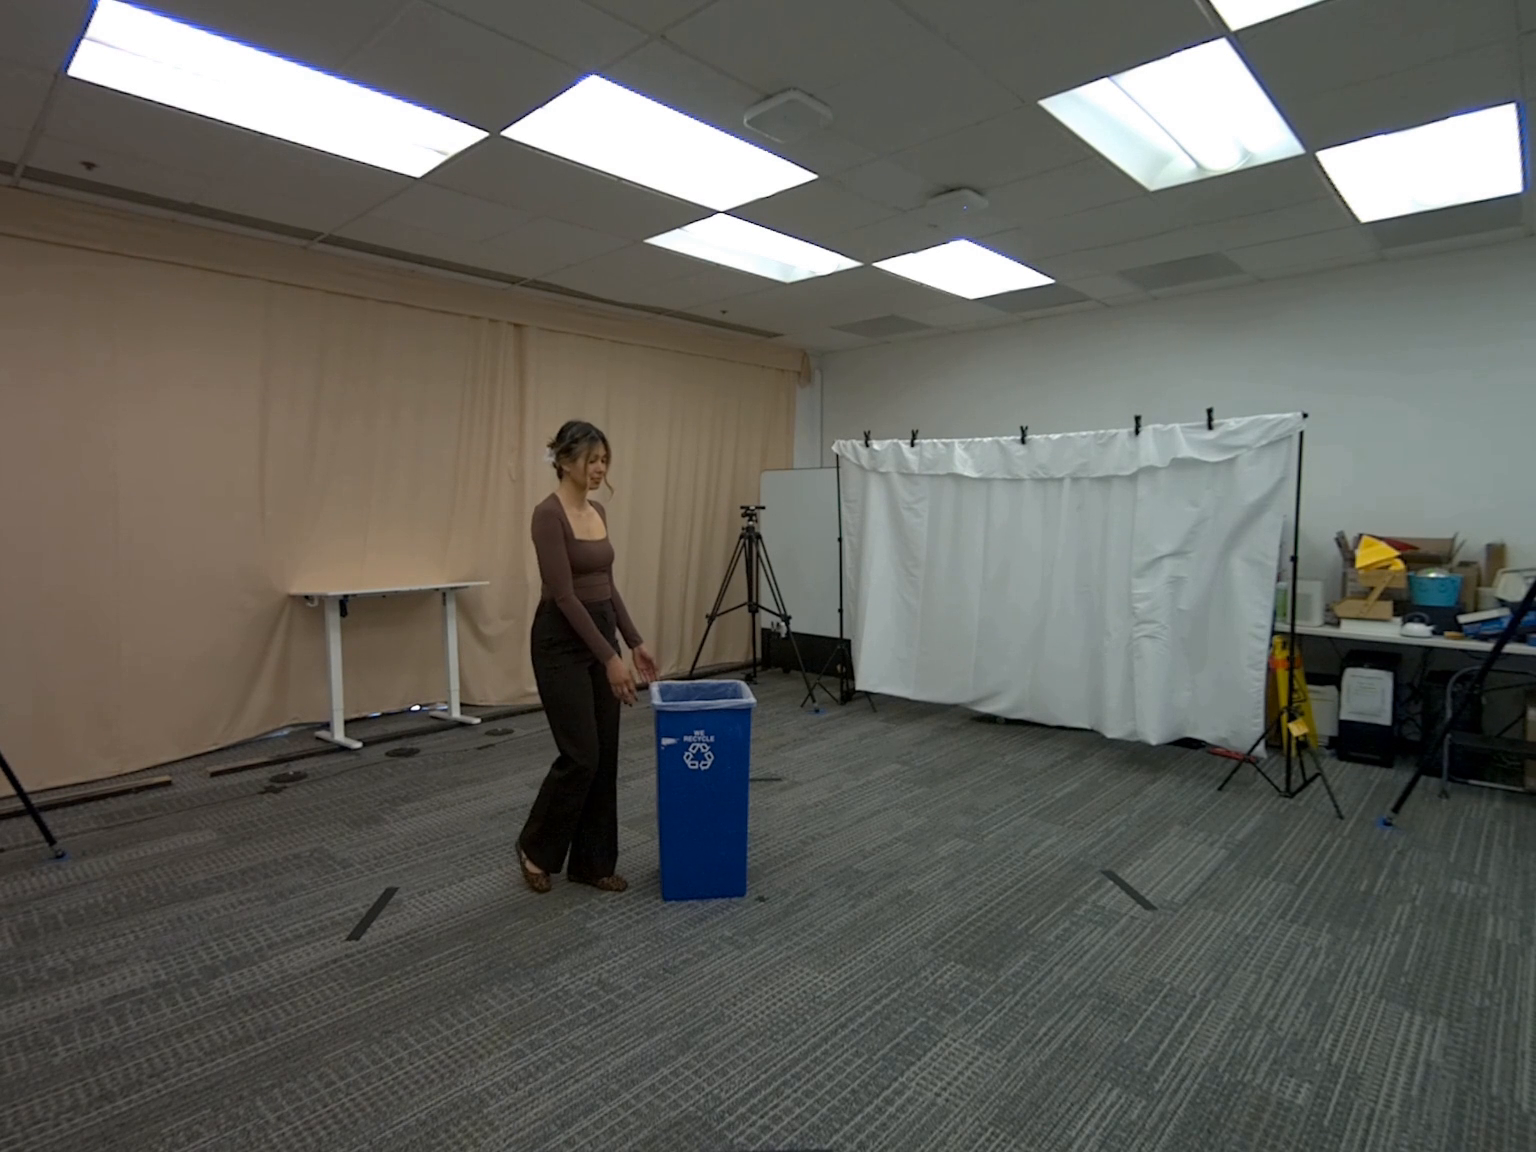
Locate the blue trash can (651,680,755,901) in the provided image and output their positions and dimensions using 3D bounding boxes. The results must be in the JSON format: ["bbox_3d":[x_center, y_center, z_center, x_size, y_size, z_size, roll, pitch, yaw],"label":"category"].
[{"bbox_3d":[-0.242,0.779,3.104,0.375,0.712,0.377,-1,3,-8],"label":"blue trash can"}]
